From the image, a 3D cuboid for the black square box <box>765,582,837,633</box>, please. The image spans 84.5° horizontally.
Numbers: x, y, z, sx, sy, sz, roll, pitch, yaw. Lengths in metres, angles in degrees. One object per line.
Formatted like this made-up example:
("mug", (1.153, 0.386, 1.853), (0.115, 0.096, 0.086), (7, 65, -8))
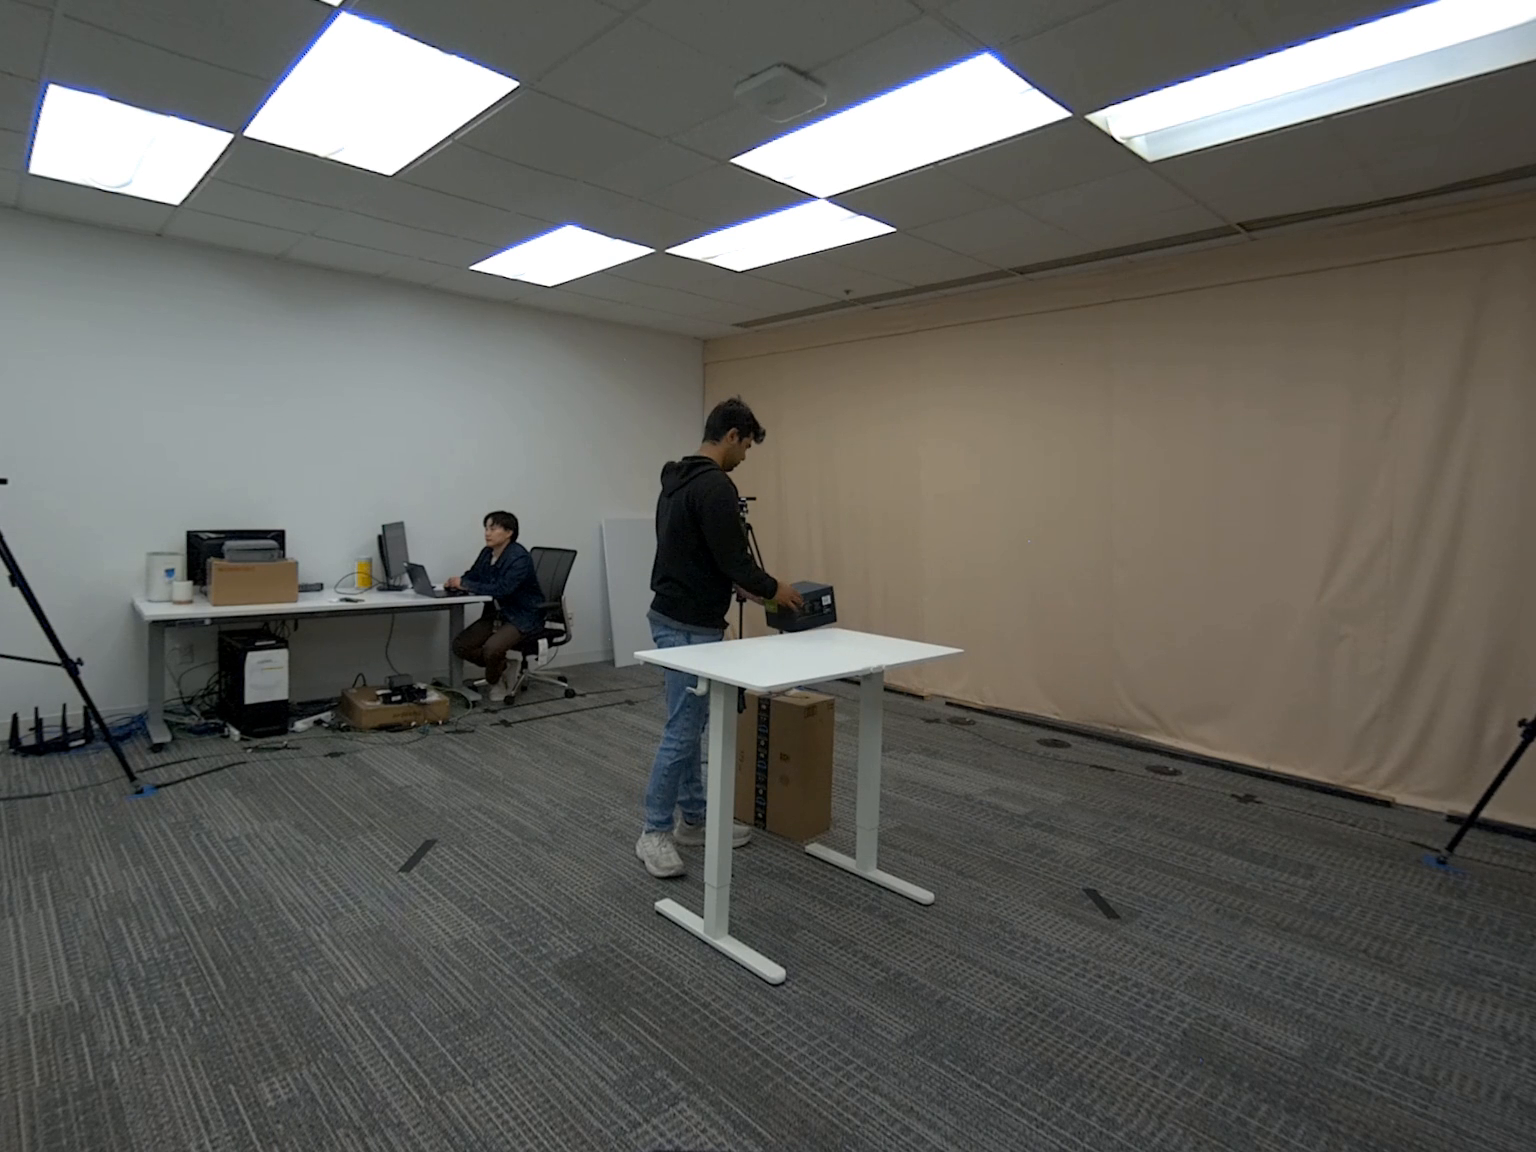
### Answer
("black square box", (0.127, 0.134, 3.528), (0.214, 0.155, 0.233), (-12, 10, -26))
